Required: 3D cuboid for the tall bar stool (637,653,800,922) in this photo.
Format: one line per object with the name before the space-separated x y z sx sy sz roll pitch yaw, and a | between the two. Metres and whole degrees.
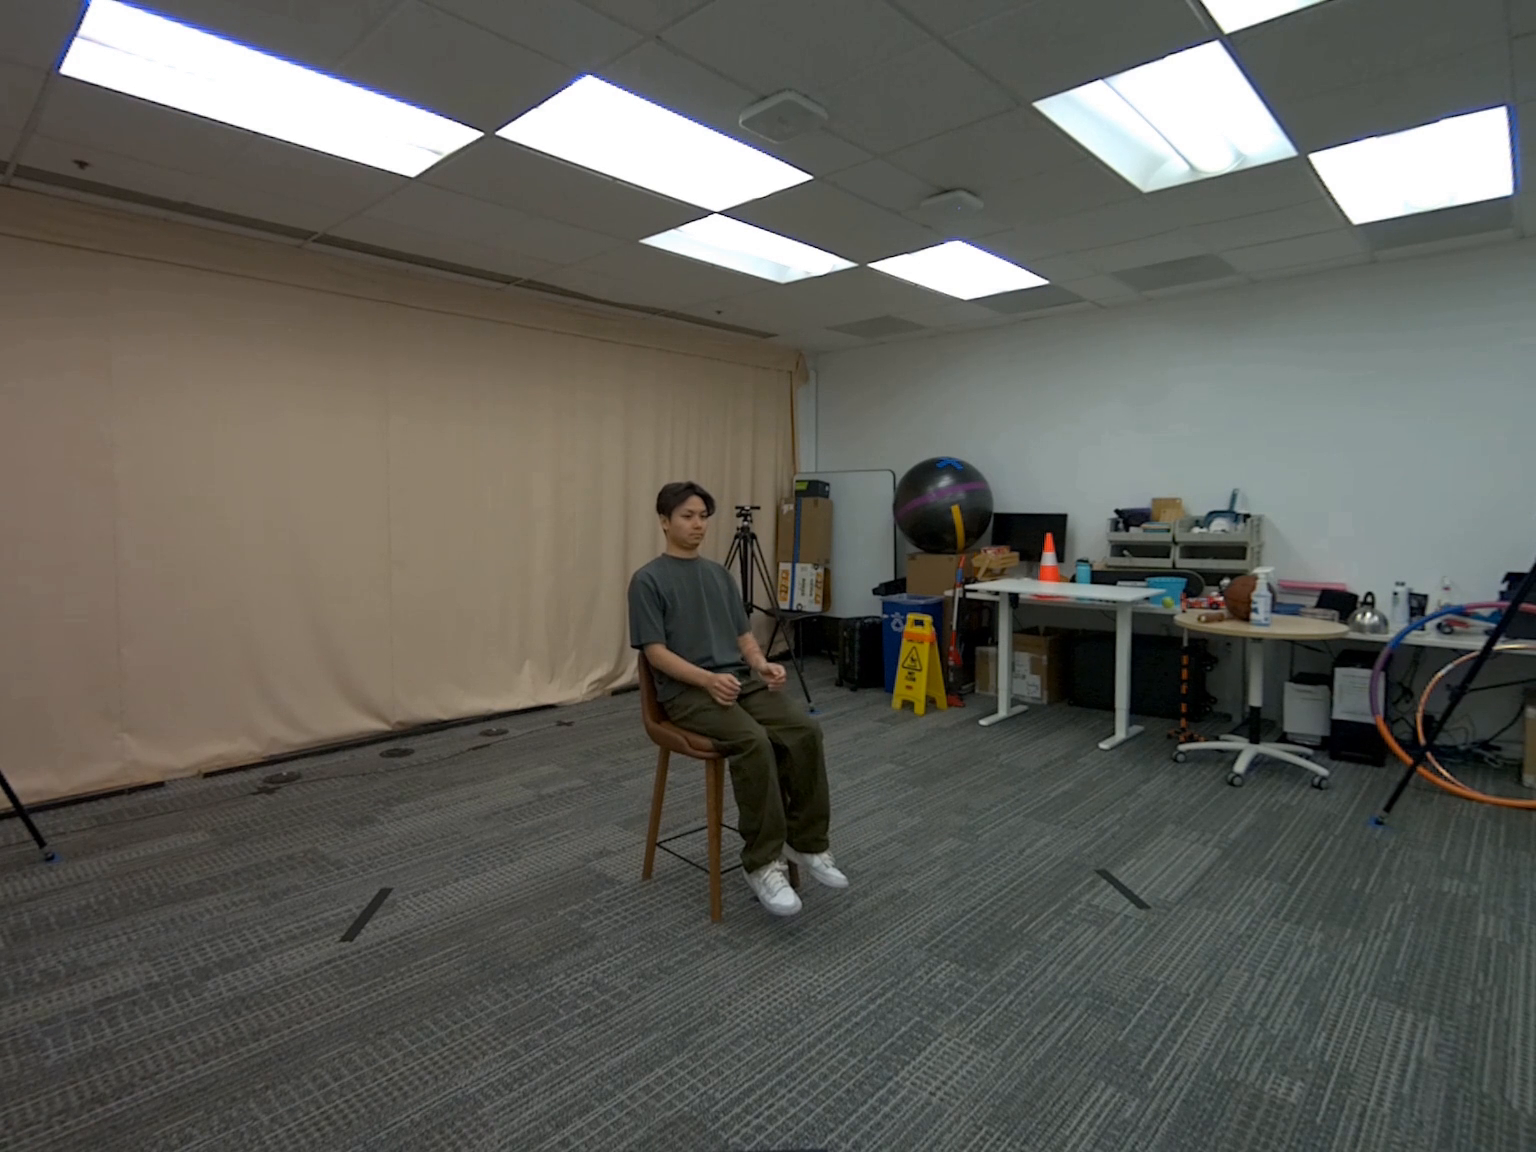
tall bar stool | -0.199 0.701 3.097 0.442 0.889 0.482 -4 2 -43
